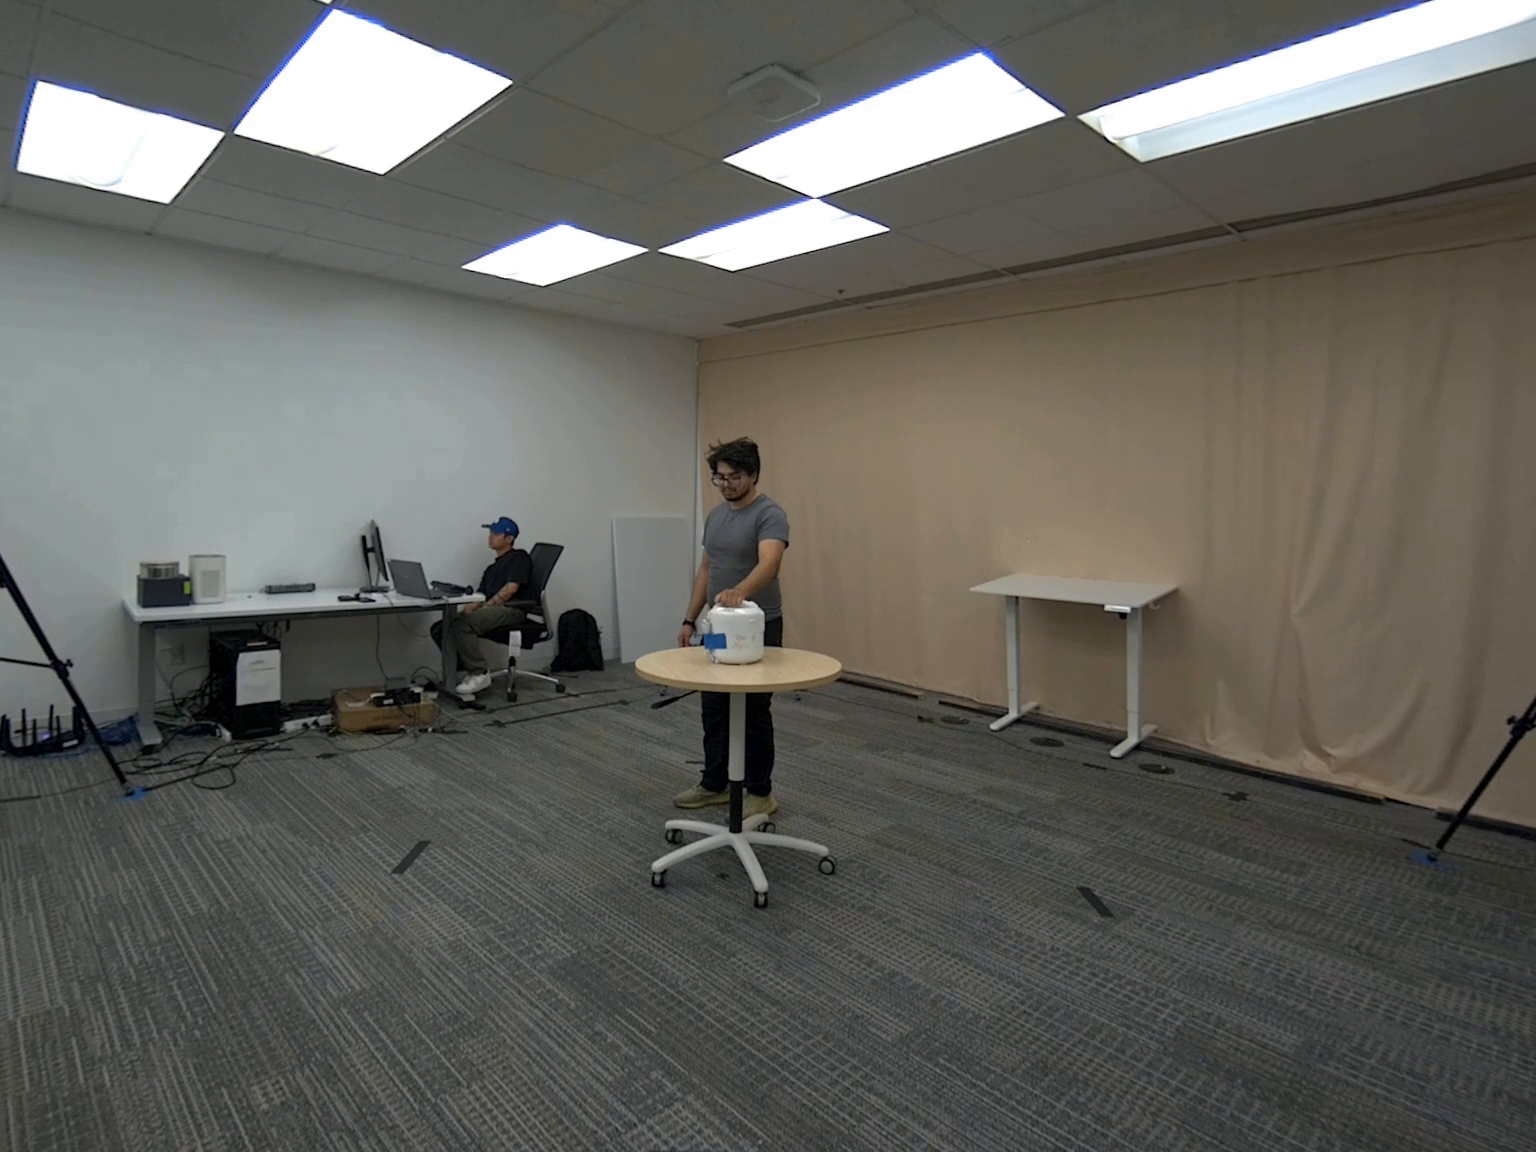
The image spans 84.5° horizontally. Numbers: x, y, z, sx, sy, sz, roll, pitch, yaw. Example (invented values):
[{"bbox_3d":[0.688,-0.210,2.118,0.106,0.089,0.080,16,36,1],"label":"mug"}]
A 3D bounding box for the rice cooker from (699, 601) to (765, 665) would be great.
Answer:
[{"bbox_3d":[-0.133,0.205,3.171,0.223,0.232,0.215,2,4,16],"label":"rice cooker"}]
